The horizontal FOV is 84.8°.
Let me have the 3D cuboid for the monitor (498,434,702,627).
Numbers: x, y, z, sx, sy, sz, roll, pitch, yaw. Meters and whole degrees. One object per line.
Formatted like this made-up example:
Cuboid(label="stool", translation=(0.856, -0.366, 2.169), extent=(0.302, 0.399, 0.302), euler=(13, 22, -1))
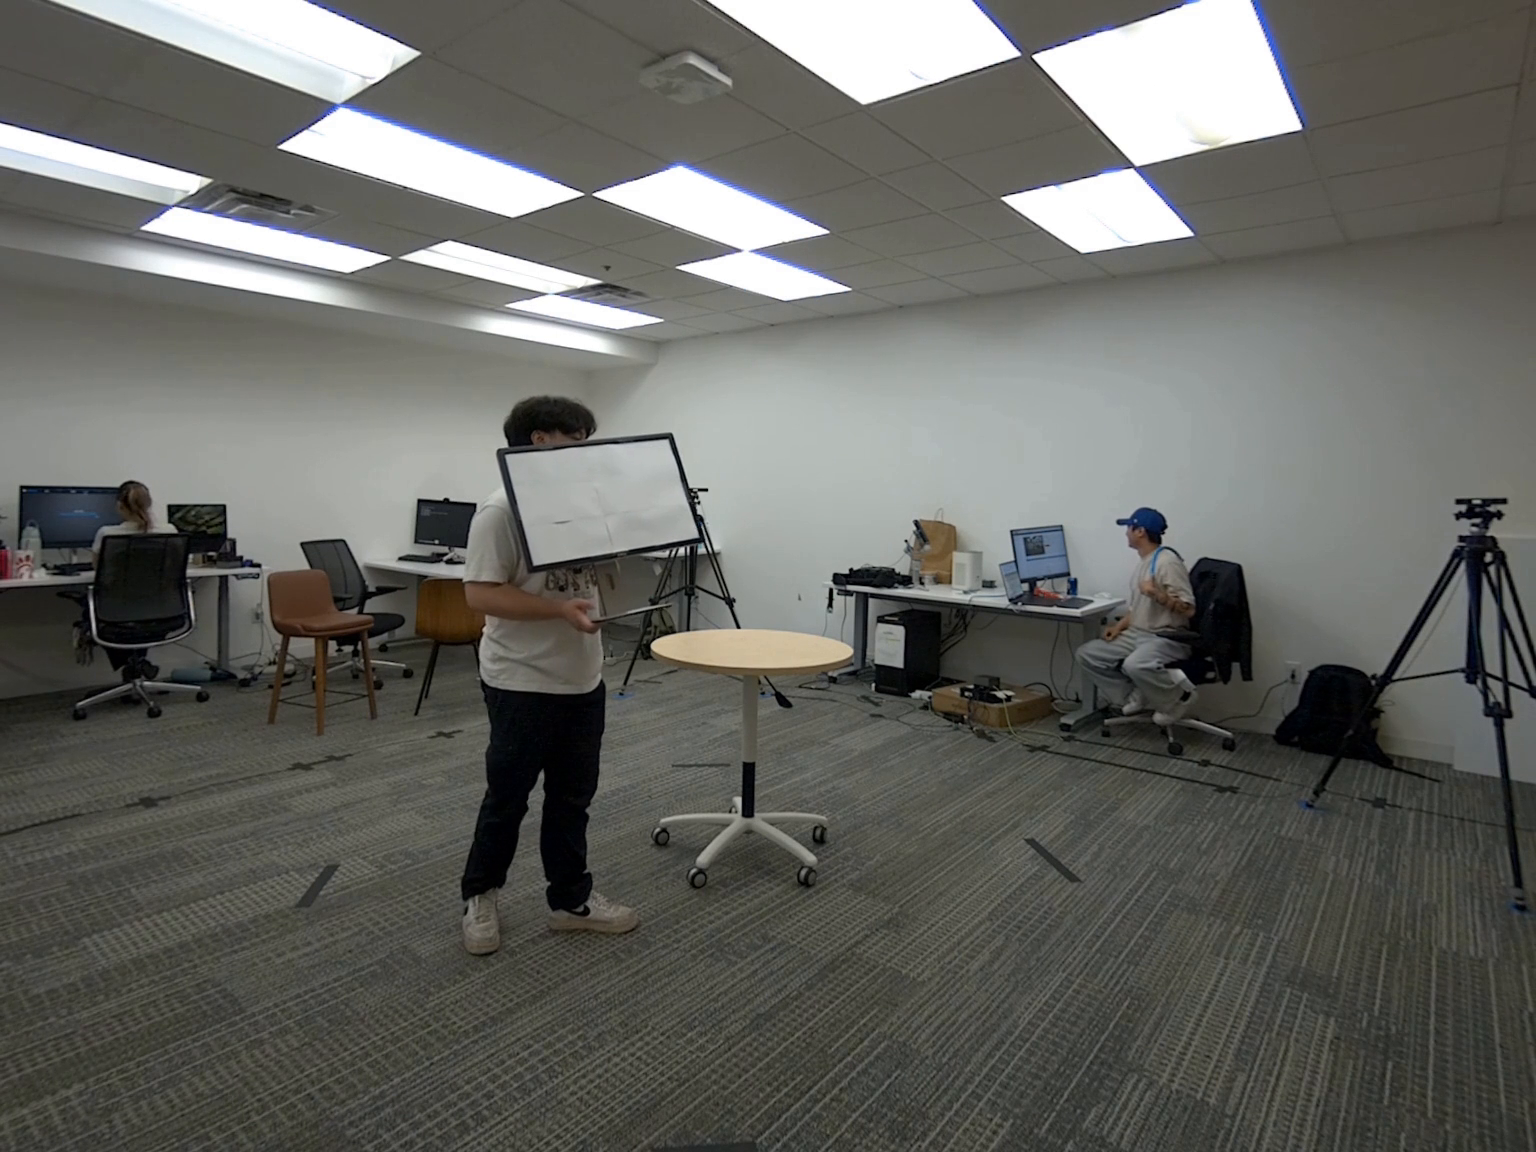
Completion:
Cuboid(label="monitor", translation=(-0.499, -0.124, 2.501), extent=(0.552, 0.558, 0.213), euler=(-11, -7, -32))
